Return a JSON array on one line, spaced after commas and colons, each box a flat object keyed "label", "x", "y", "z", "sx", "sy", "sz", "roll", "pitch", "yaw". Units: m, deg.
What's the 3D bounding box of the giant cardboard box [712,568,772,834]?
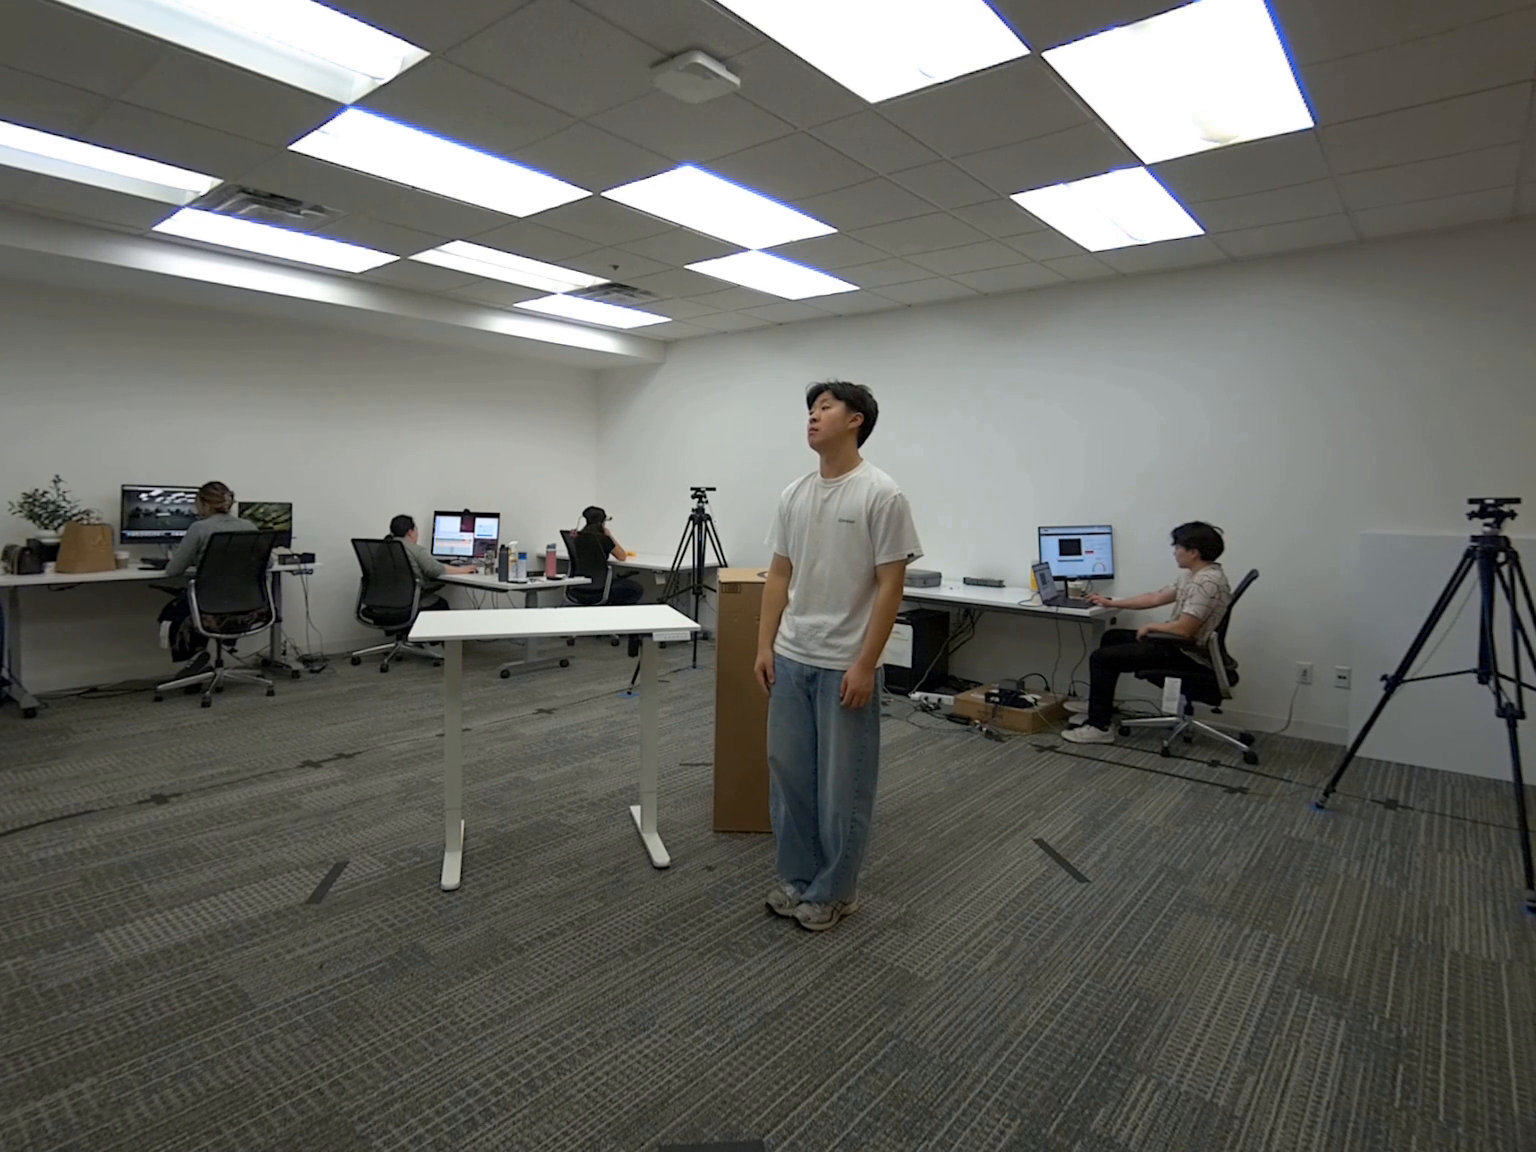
[{"label": "giant cardboard box", "x": -0.025, "y": 0.502, "z": 3.704, "sx": 0.426, "sy": 1.023, "sz": 0.580, "roll": 1, "pitch": 3, "yaw": -2}]
